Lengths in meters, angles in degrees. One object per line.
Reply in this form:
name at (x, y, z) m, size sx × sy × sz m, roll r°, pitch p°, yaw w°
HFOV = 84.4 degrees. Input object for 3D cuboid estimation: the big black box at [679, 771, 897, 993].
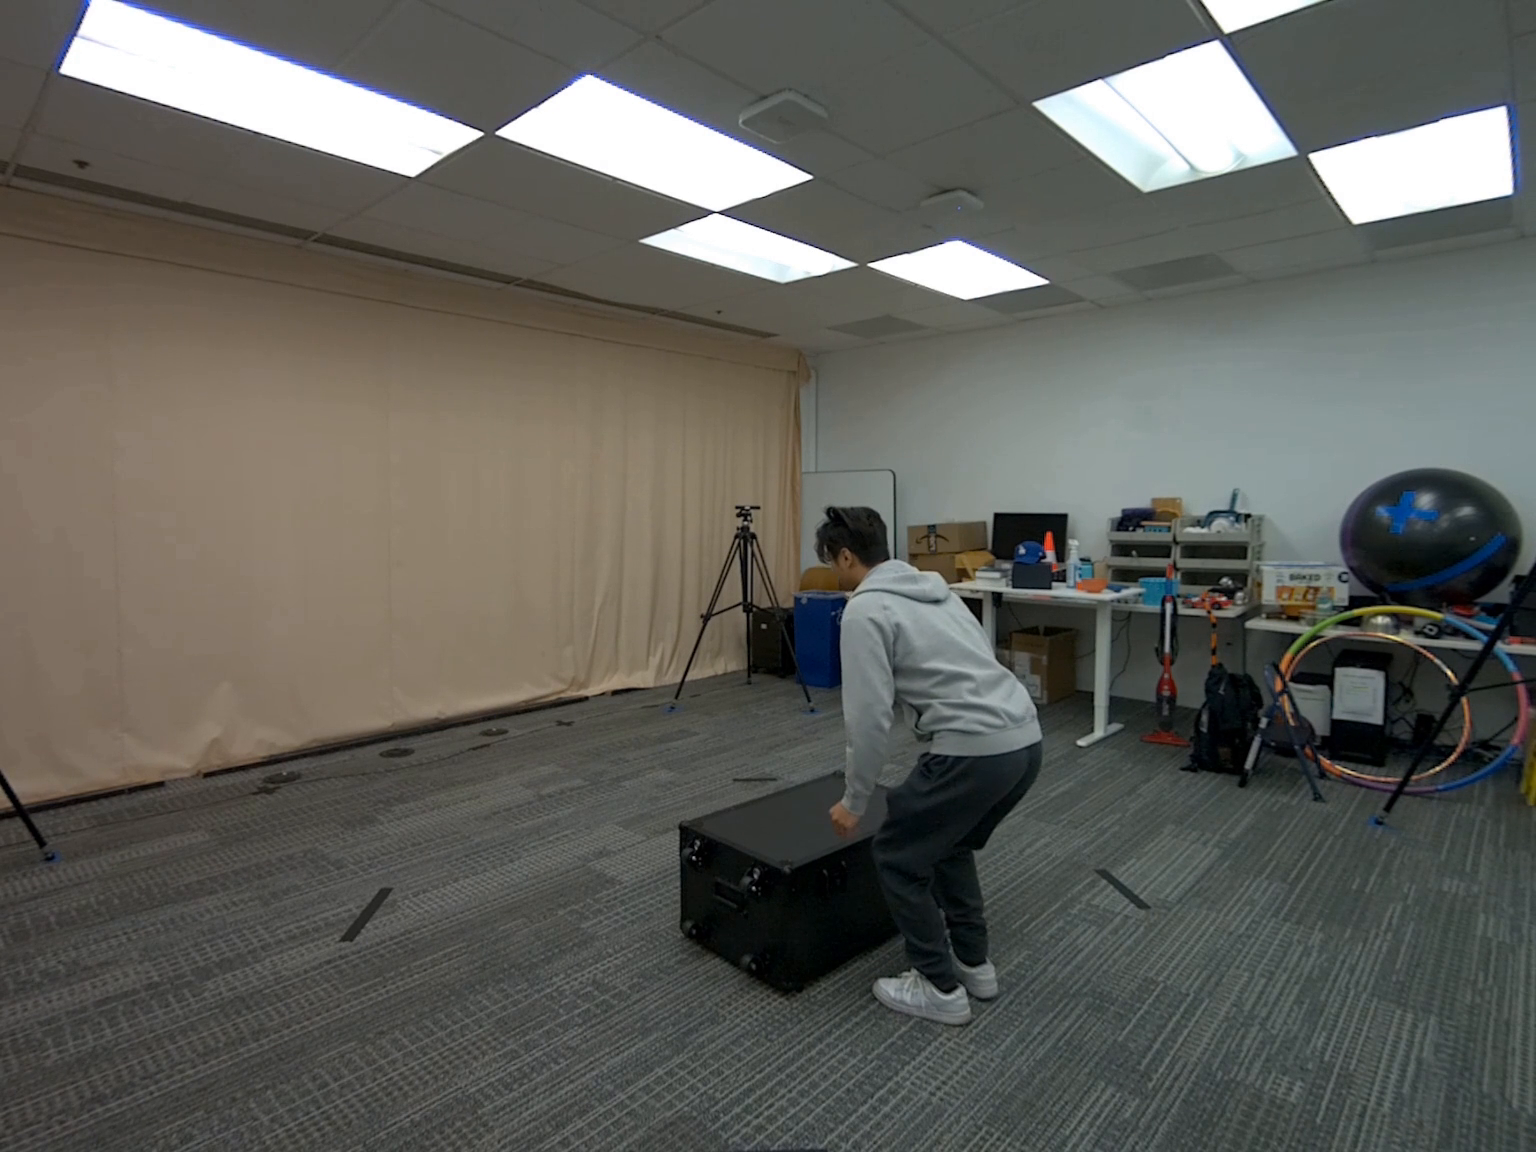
big black box at (0.139, 0.972, 2.770) m, size 0.835 × 0.395 × 0.539 m, roll -4°, pitch 6°, yaw -44°
